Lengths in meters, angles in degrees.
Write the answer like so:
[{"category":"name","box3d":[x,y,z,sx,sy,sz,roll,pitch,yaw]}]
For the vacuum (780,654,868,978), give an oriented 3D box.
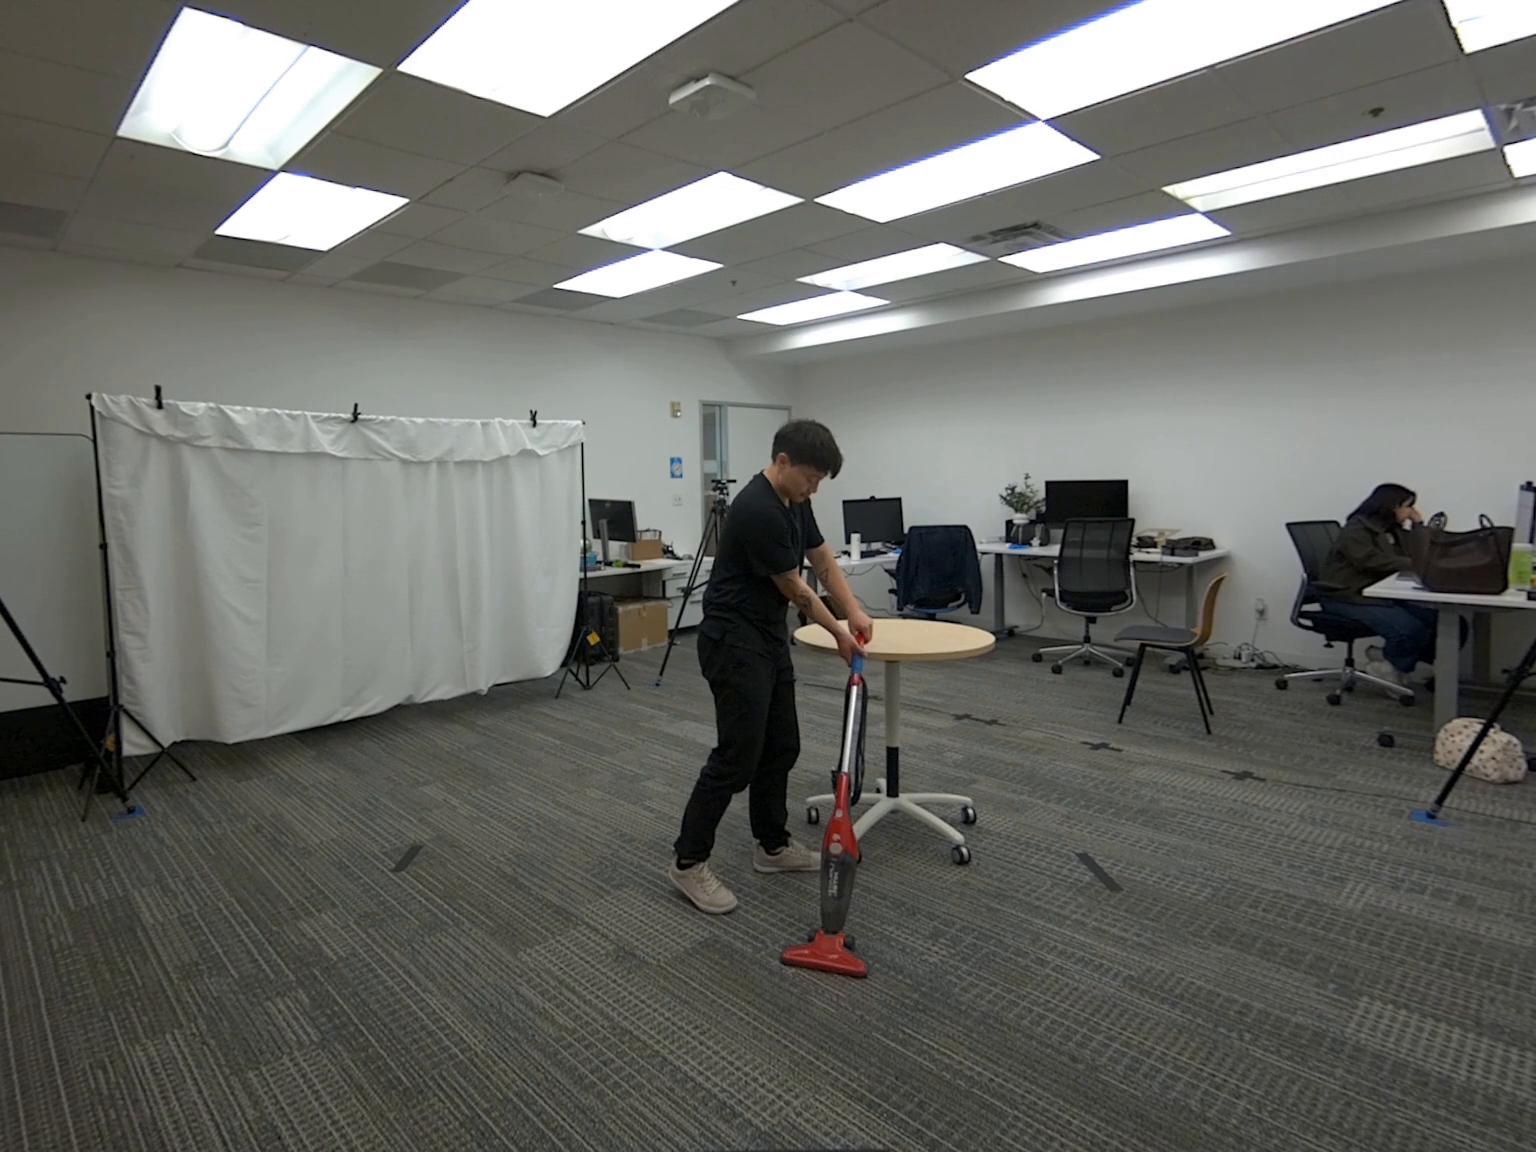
[{"category":"vacuum","box3d":[0.262,0.653,2.736,0.257,1.068,0.139,1,-31,18]}]
